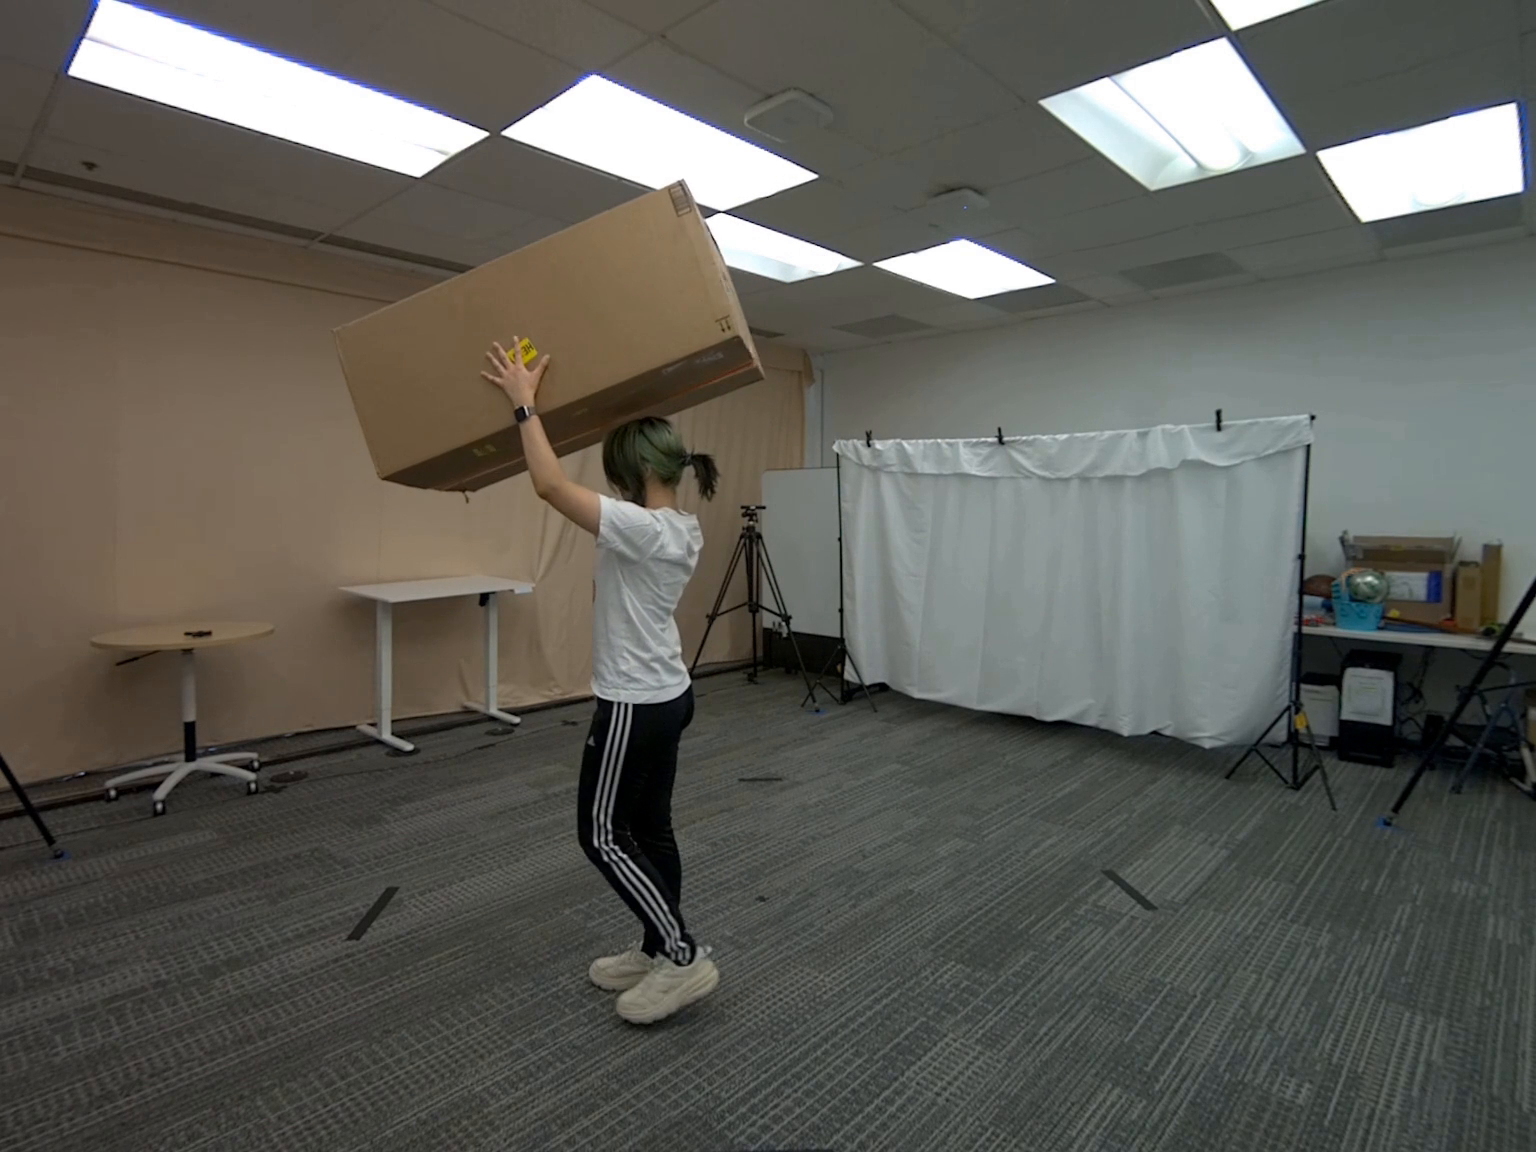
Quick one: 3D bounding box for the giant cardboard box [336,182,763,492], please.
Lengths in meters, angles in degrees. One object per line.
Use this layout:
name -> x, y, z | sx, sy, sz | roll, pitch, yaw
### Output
giant cardboard box -> -0.586, -0.627, 2.413 | 1.034, 0.447, 0.579 | -20, 0, 8
